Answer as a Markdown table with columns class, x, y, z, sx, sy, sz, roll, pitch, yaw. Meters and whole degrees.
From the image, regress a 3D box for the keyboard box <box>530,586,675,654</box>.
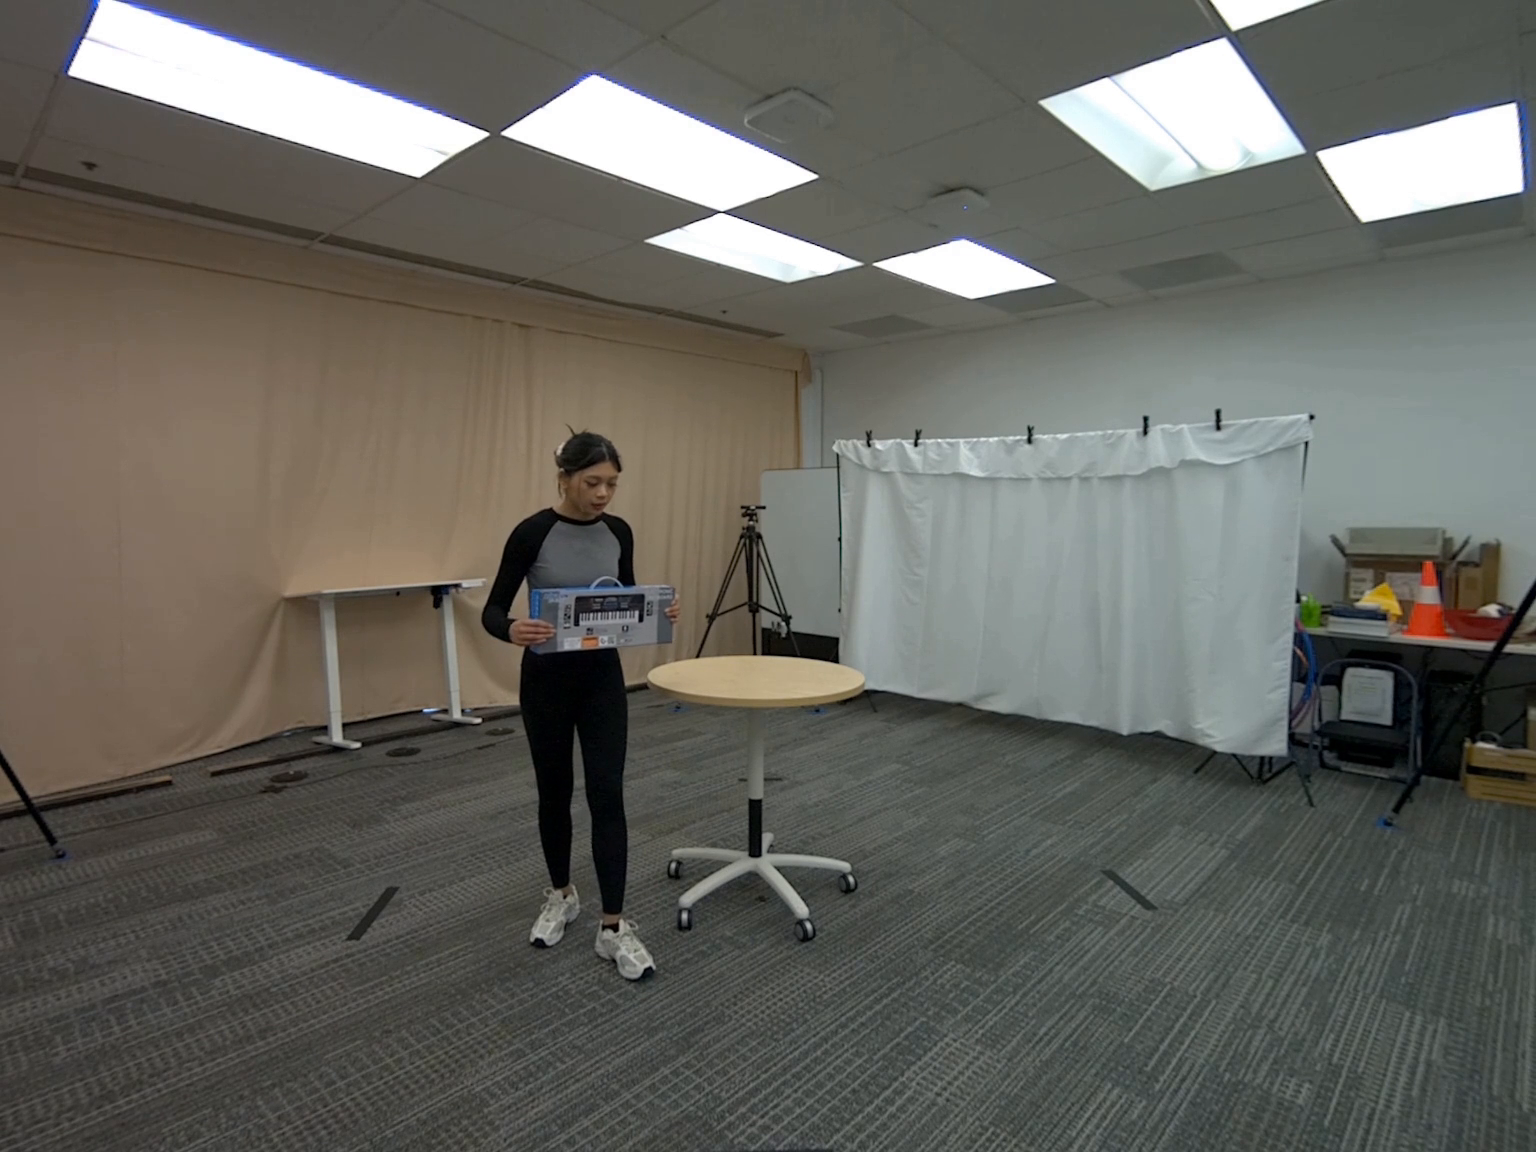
| class | x | y | z | sx | sy | sz | roll | pitch | yaw |
| --- | --- | --- | --- | --- | --- | --- | --- | --- | --- |
| keyboard box | -0.479 | 0.123 | 2.431 | 0.423 | 0.175 | 0.061 | 0 | 6 | -37 |
